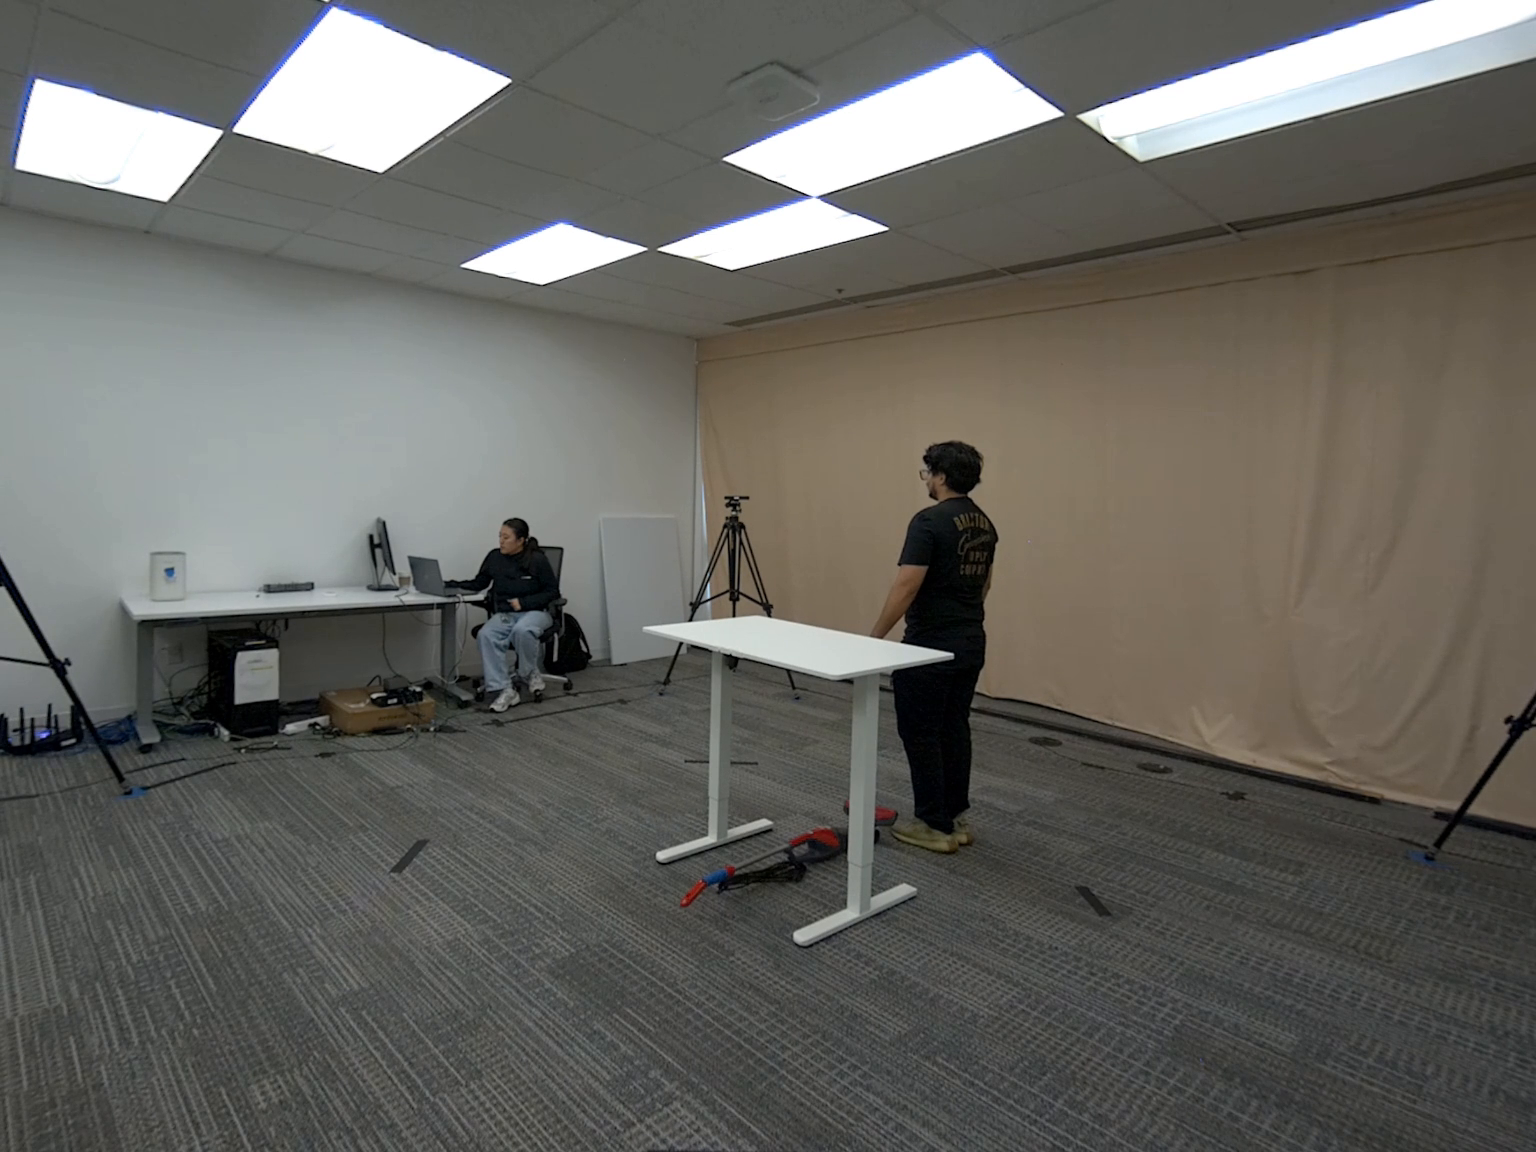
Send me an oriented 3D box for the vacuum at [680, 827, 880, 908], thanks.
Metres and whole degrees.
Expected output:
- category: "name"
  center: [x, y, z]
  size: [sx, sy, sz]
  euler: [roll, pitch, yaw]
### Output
- category: "vacuum"
  center: [0.066, 1.049, 3.119]
  size: [0.259, 0.143, 1.026]
  euler: [3, 6, 41]
